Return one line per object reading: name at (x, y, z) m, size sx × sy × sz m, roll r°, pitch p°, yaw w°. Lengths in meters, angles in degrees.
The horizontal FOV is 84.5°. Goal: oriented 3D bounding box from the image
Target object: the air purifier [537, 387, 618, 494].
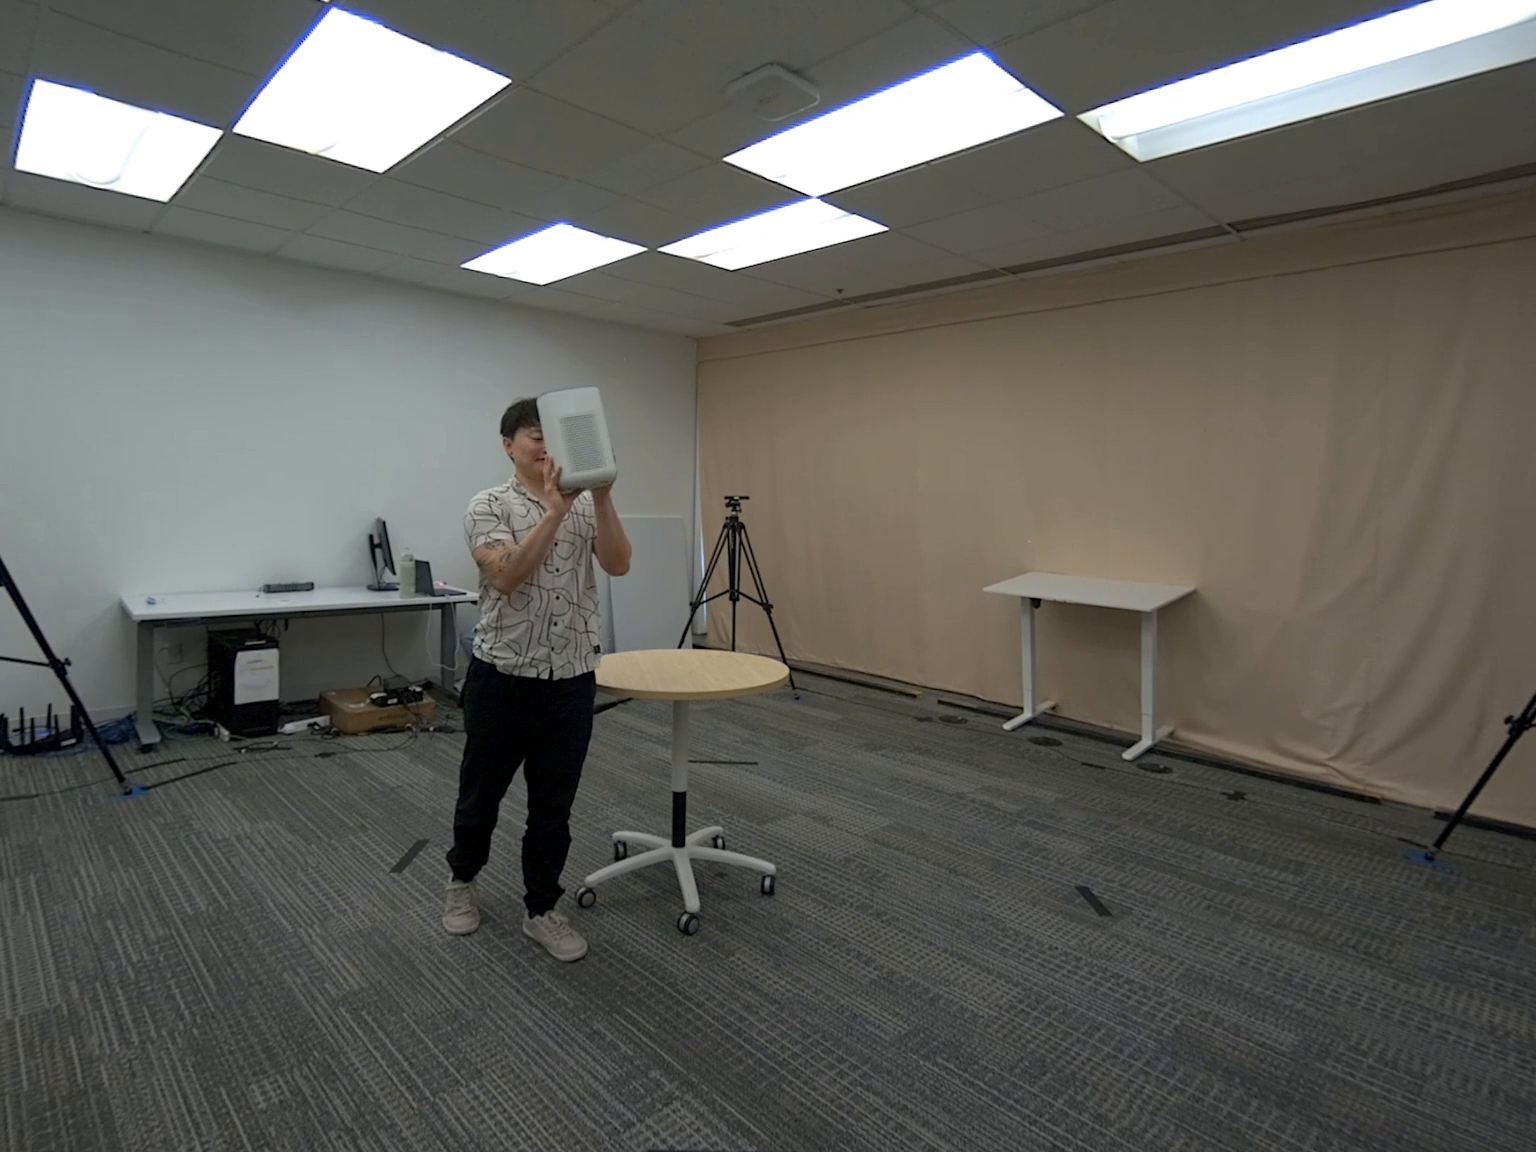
air purifier at (-0.541, -0.376, 2.338) m, size 0.170 × 0.266 × 0.172 m, roll -9°, pitch -2°, yaw -17°
